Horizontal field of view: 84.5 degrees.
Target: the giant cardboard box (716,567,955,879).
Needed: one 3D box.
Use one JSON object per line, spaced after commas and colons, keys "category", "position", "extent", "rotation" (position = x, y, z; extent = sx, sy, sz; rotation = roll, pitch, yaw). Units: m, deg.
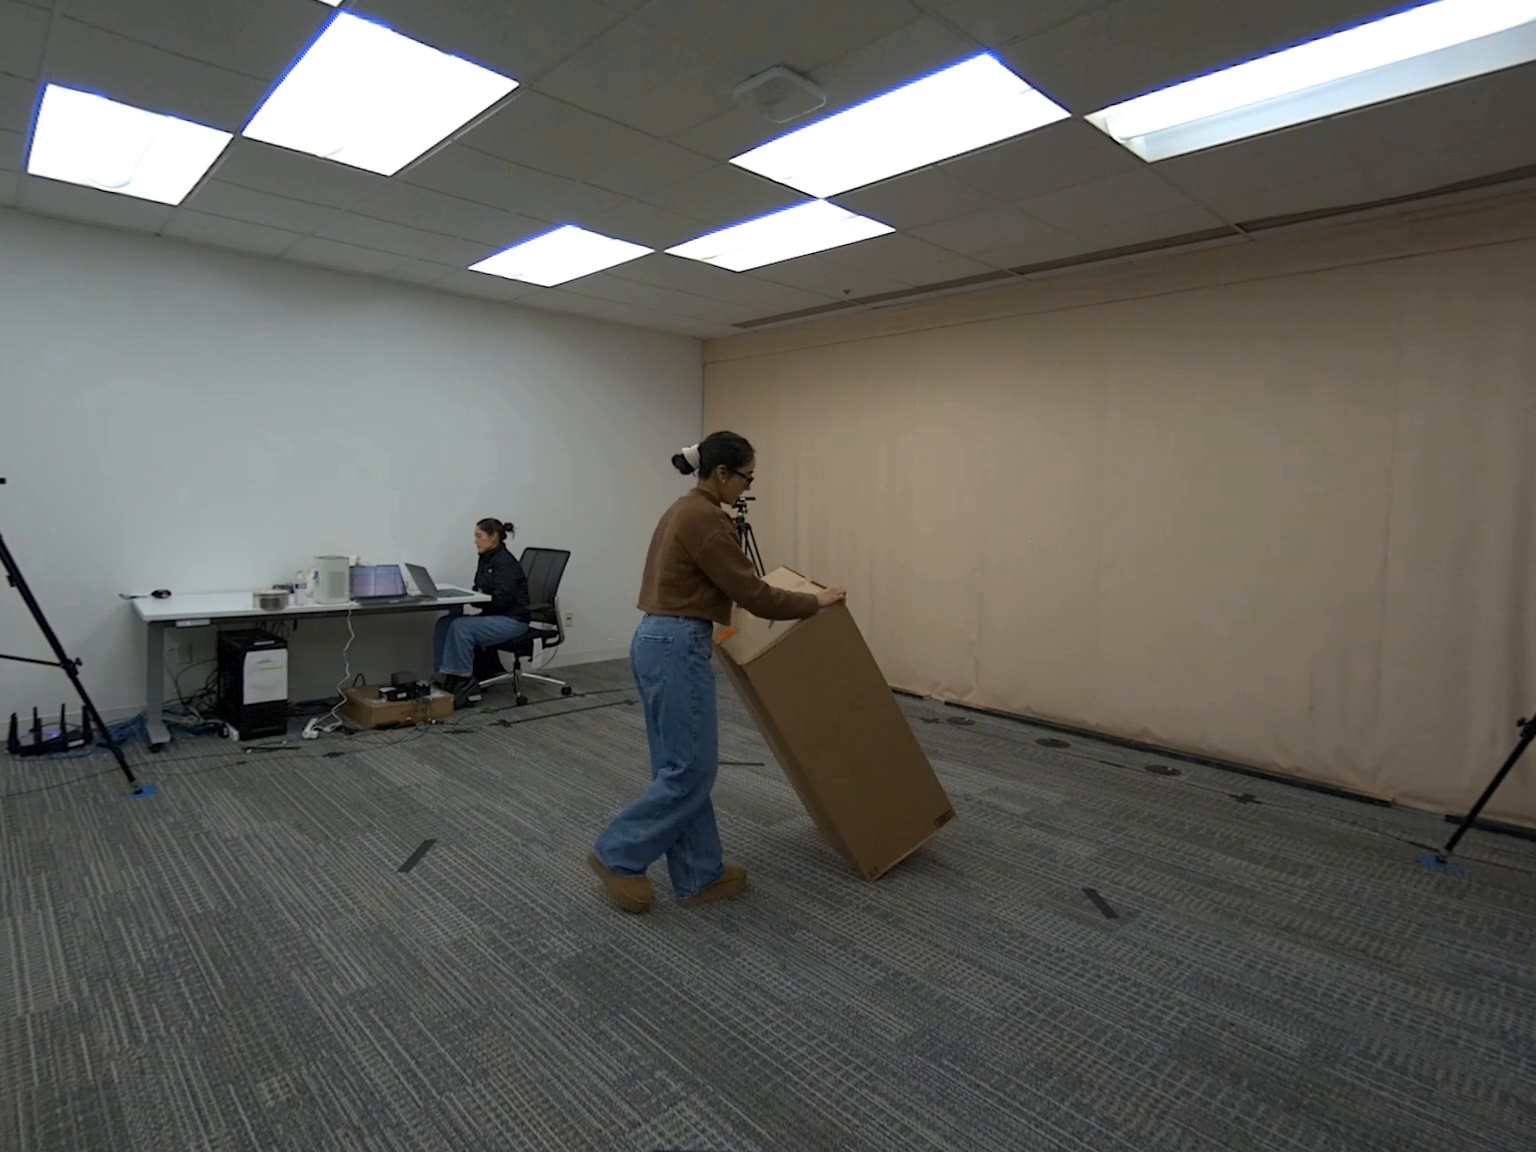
{"category": "giant cardboard box", "position": [0.203, 0.549, 3.238], "extent": [0.445, 1.009, 0.596], "rotation": [-32, 18, -13]}
